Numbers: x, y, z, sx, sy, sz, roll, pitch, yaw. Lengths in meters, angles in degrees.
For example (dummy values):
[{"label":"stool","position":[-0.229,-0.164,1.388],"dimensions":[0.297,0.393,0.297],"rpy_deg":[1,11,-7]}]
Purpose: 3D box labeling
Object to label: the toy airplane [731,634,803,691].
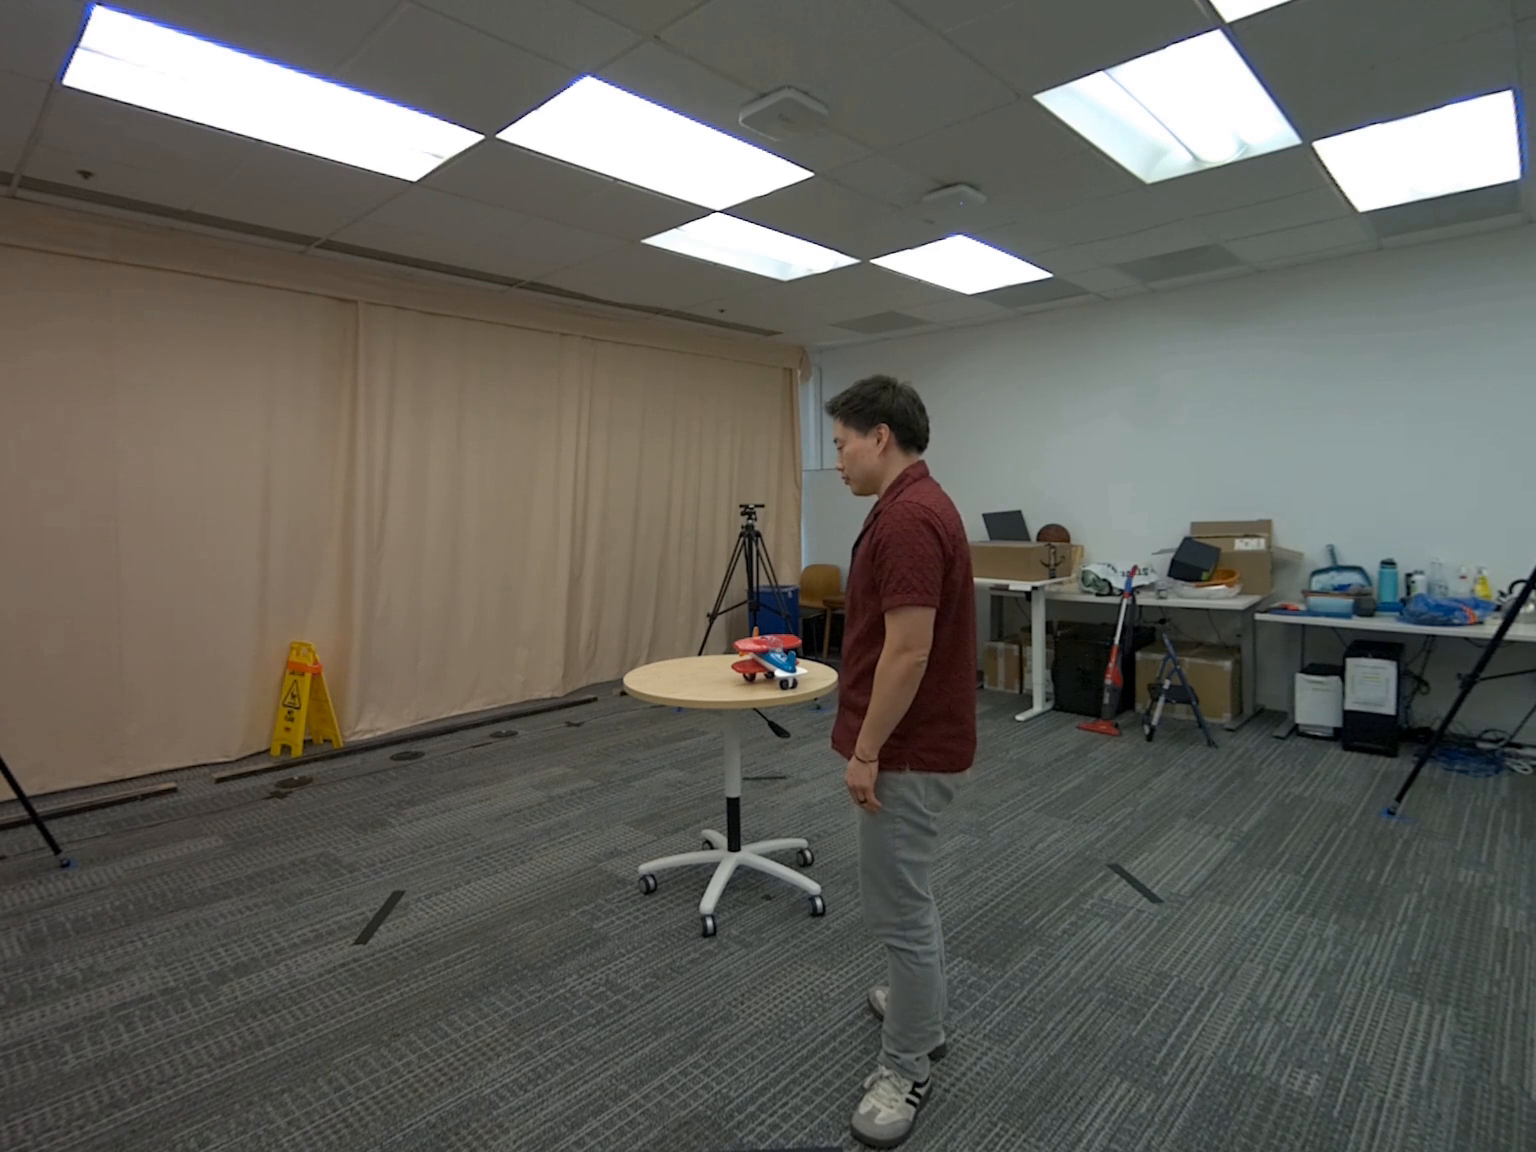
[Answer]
[{"label":"toy airplane","position":[0.035,0.291,2.863],"dimensions":[0.267,0.156,0.244],"rpy_deg":[1,5,32]}]
